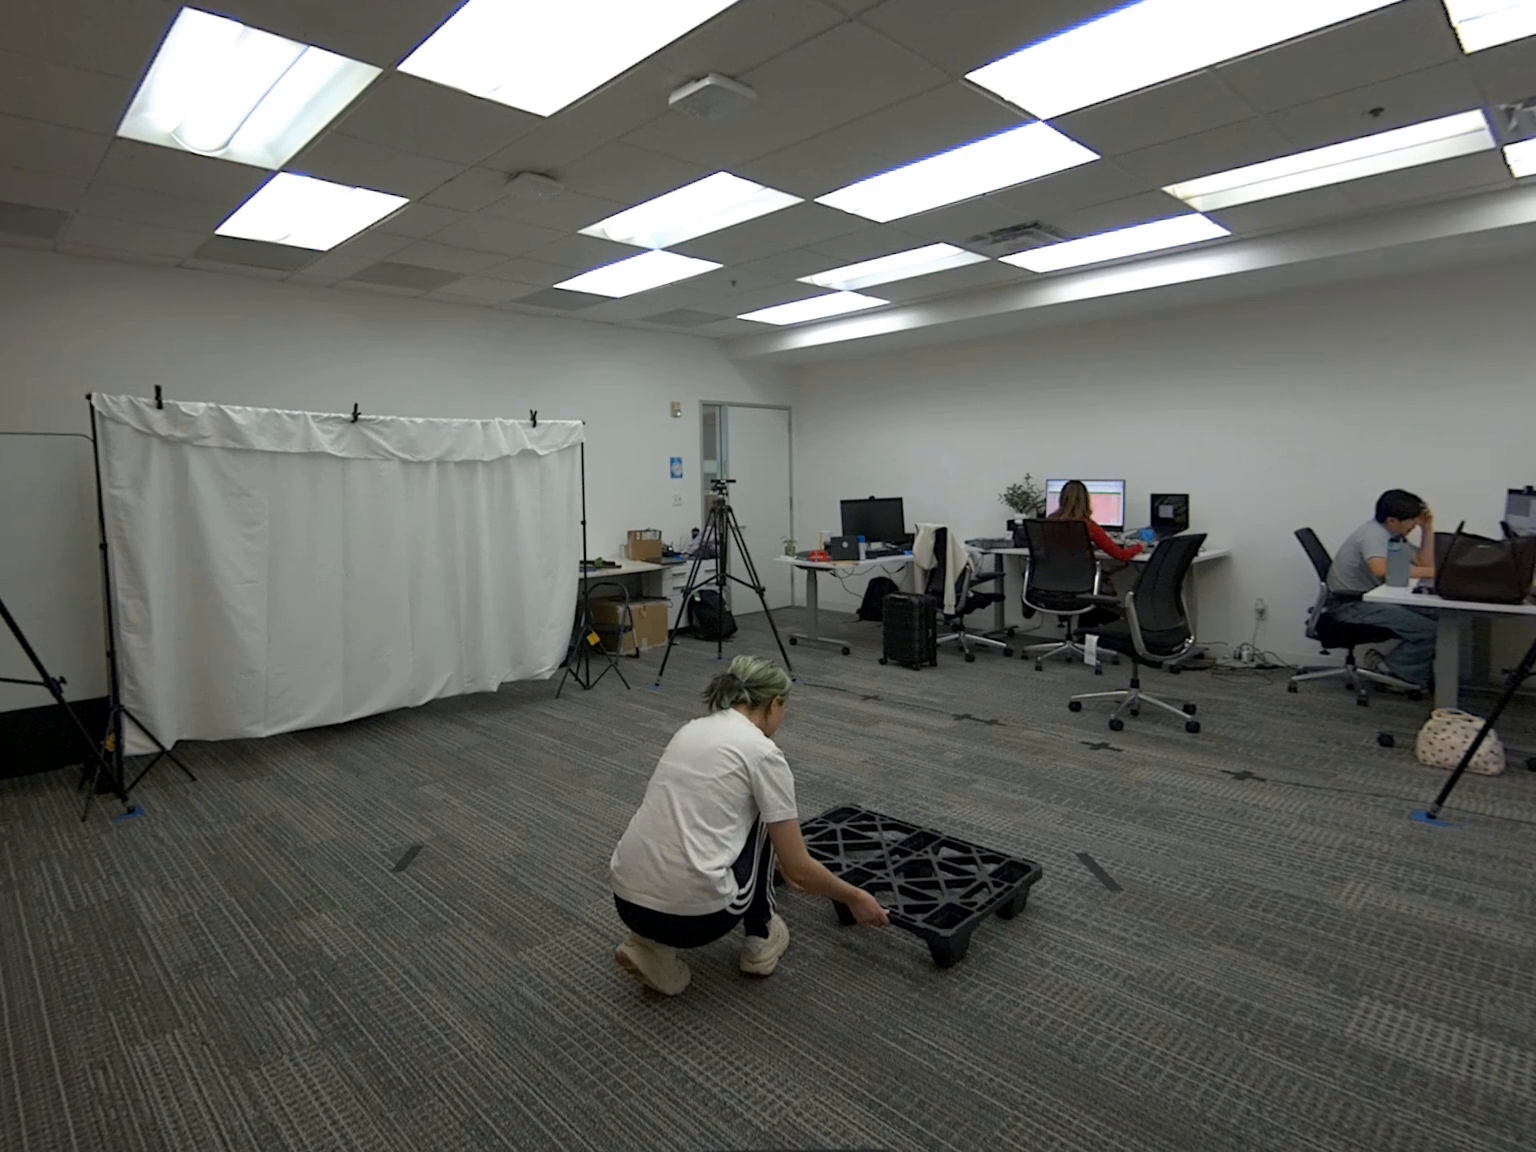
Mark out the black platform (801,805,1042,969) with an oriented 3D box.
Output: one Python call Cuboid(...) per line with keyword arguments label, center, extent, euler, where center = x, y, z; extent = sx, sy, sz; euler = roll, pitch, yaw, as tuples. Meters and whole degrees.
Cuboid(label="black platform", center=(0.403, 1.000, 2.849), extent=(0.831, 0.143, 0.589), euler=(6, 8, 43))
